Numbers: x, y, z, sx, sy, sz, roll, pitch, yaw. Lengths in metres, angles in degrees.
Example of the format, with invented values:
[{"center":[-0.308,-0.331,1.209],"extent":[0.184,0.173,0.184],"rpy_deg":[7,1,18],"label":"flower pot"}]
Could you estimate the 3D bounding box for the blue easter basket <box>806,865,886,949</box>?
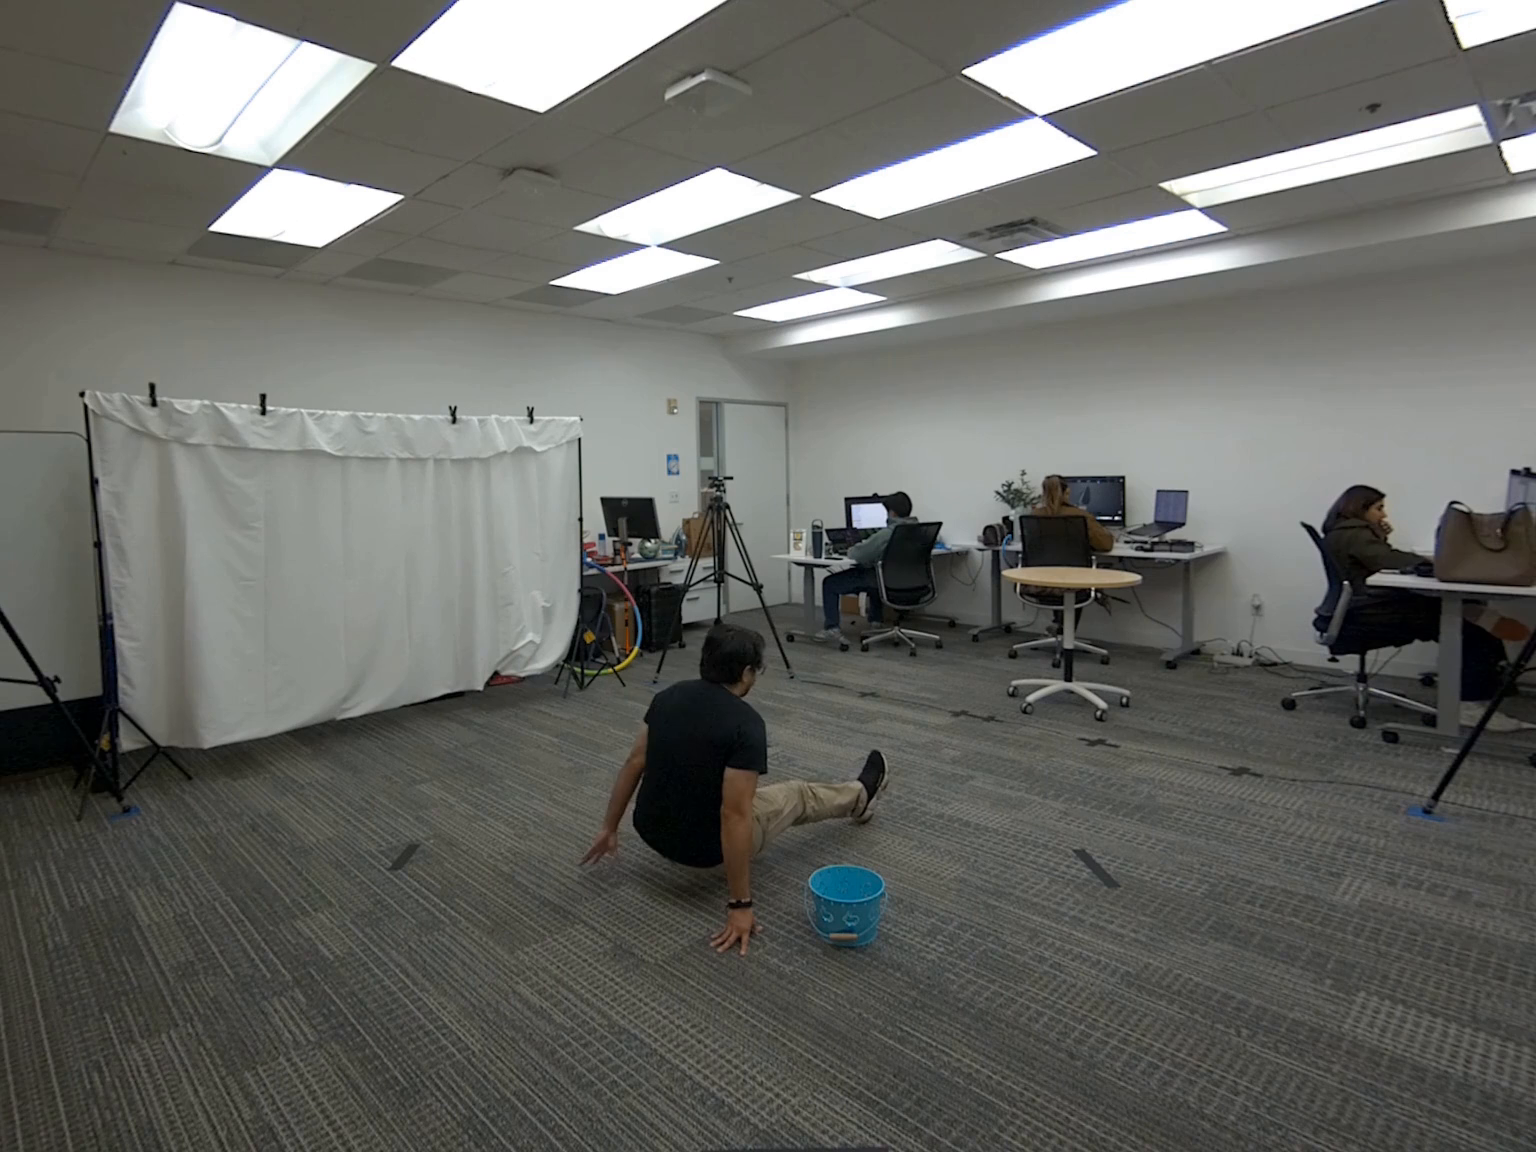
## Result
[{"center":[0.242,1.007,2.601],"extent":[0.243,0.155,0.245],"rpy_deg":[-2,6,-1],"label":"blue easter basket"}]
